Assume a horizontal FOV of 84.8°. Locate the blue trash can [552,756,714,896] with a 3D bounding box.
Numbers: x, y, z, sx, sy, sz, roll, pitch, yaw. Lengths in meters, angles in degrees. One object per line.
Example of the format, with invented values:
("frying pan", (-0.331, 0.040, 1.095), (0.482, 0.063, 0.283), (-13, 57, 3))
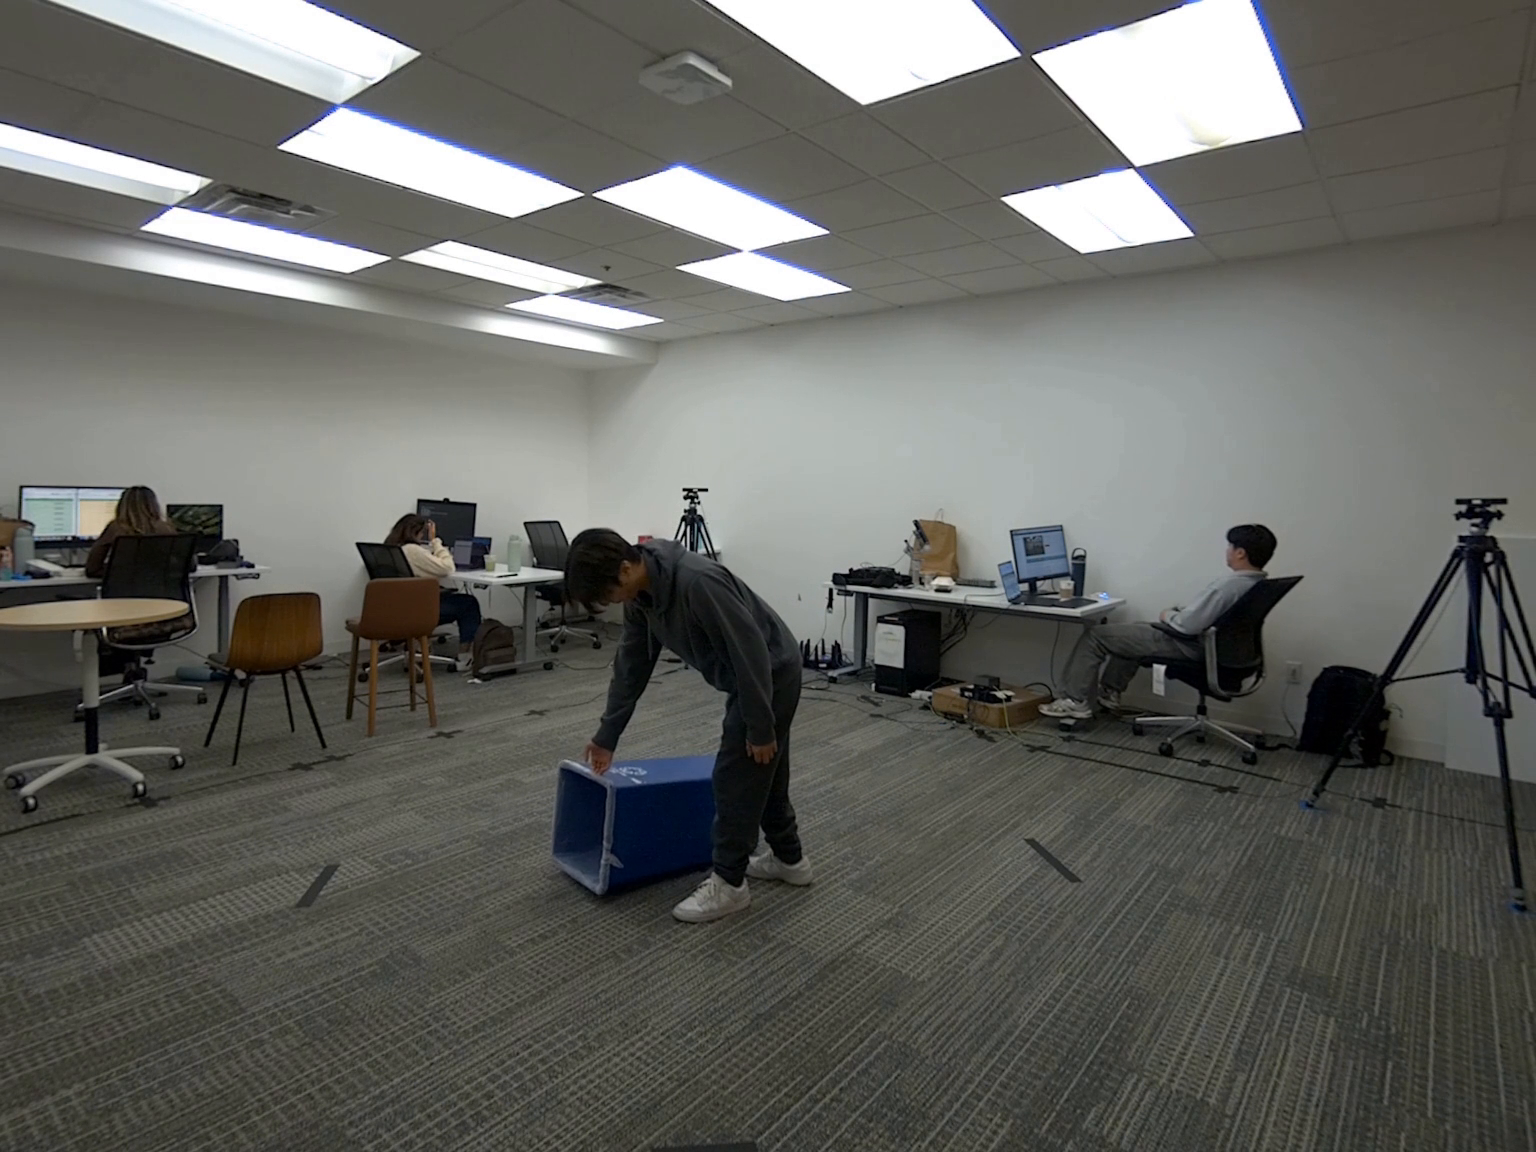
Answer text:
("blue trash can", (-0.411, 0.874, 3.166), (0.689, 0.378, 0.386), (5, -1, -41))
